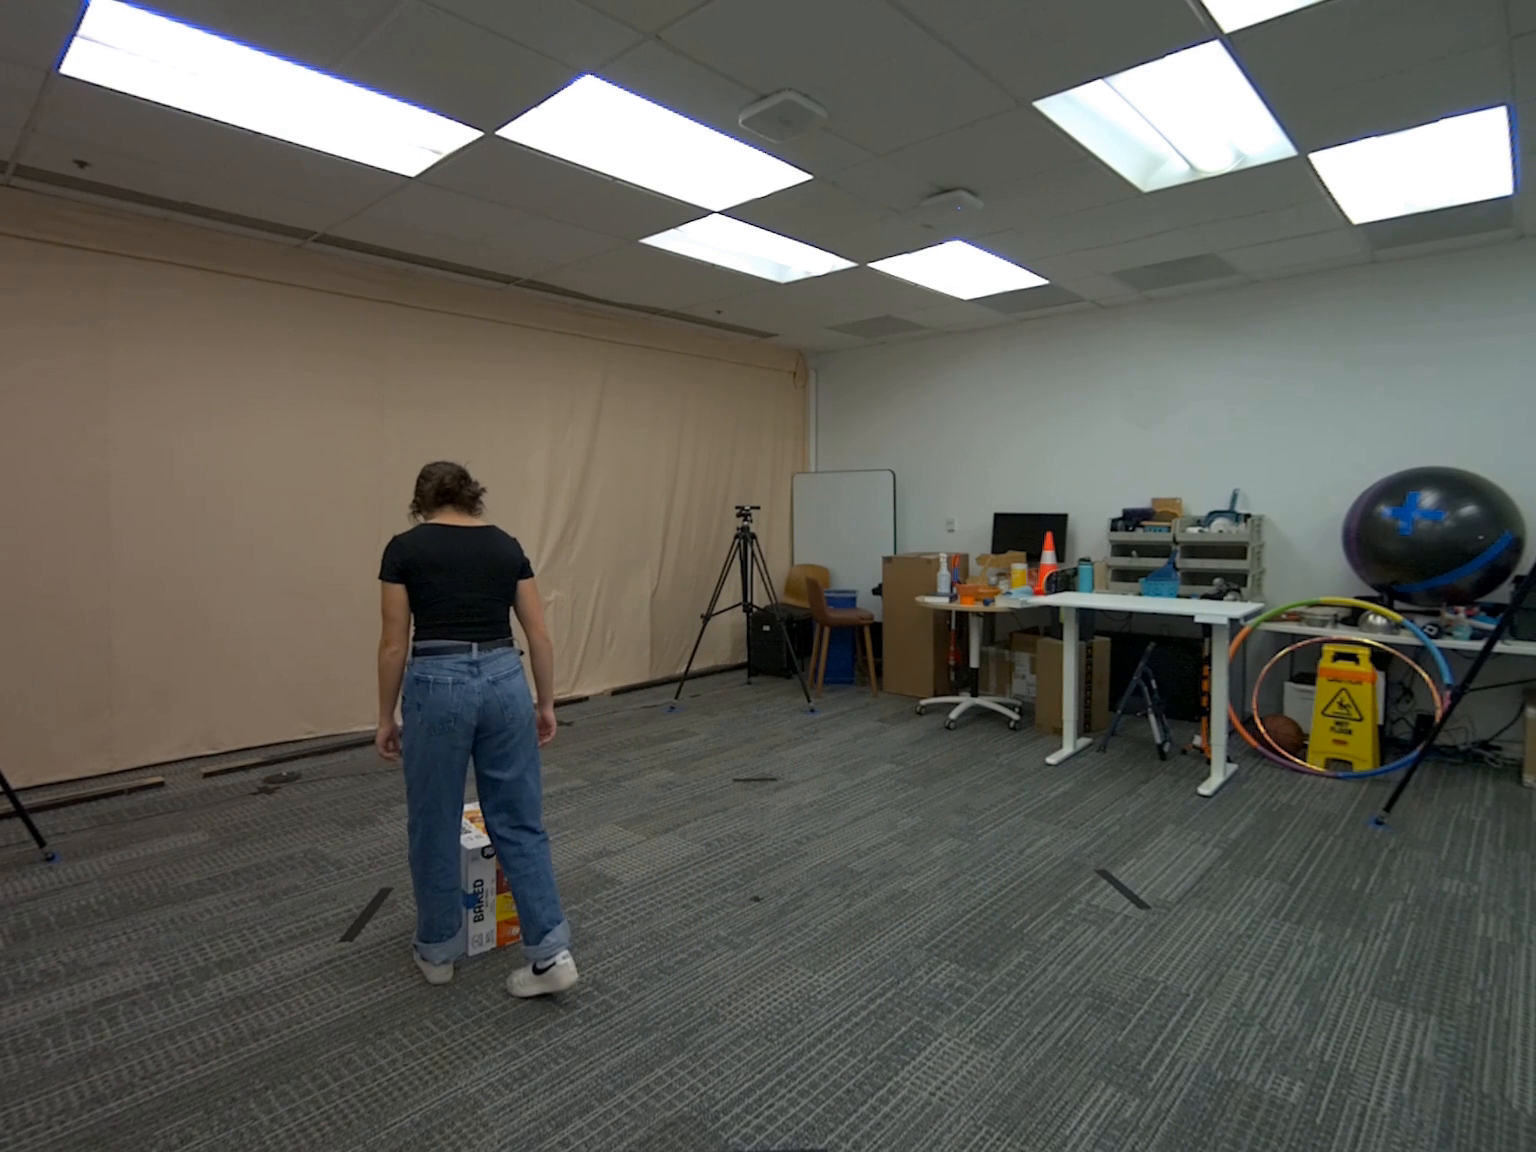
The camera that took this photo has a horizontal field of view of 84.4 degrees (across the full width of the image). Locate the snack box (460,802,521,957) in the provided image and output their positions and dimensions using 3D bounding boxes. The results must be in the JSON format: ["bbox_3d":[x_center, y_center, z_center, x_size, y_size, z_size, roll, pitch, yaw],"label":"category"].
[{"bbox_3d":[-0.987,0.997,2.815,0.199,0.340,0.418,-1,3,-40],"label":"snack box"}]
